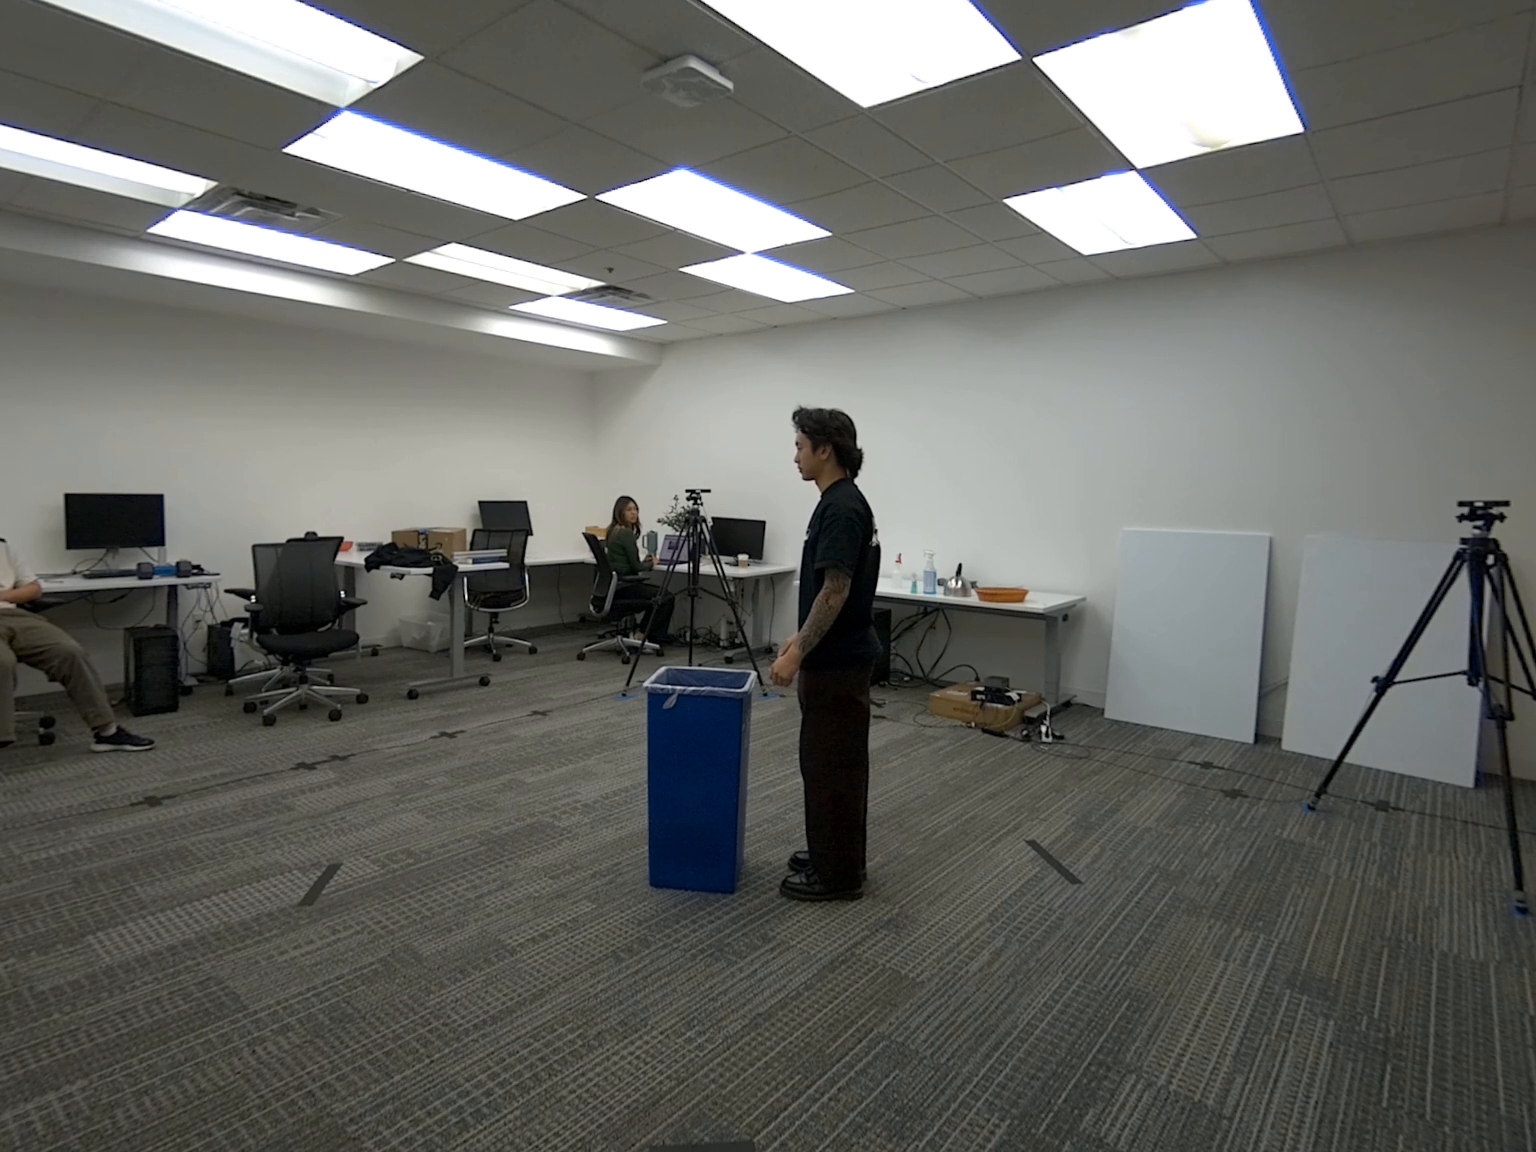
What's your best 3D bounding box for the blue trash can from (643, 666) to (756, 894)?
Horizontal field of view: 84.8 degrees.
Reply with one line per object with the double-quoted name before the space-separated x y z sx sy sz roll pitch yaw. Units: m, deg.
"blue trash can" -0.256 0.716 3.086 0.381 0.712 0.372 1 3 6
